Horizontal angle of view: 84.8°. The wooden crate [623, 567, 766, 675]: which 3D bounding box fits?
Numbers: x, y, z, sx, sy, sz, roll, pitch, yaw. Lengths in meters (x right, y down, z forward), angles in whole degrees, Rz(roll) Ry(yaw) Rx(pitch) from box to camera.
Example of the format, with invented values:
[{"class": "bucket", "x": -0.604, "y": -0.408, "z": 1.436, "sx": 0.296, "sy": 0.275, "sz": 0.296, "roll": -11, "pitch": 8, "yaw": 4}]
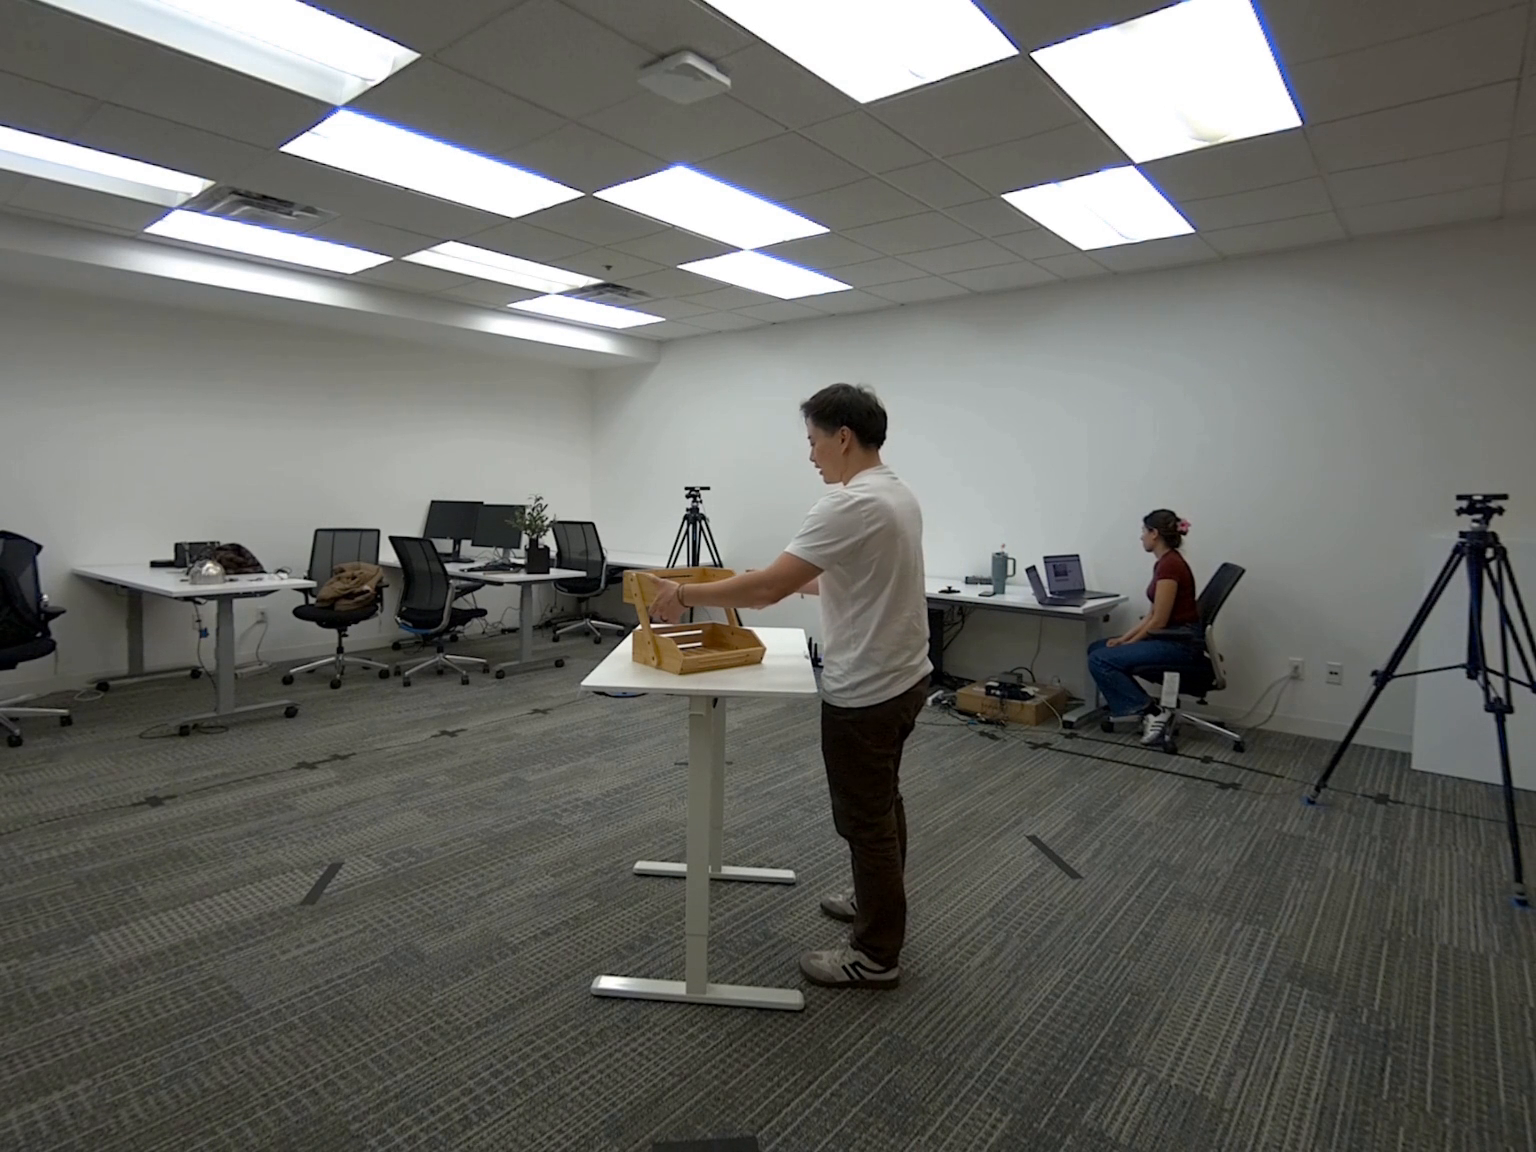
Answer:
[{"class": "wooden crate", "x": -0.223, "y": 0.115, "z": 2.485, "sx": 0.315, "sy": 0.272, "sz": 0.312, "roll": -3, "pitch": 5, "yaw": -38}]
